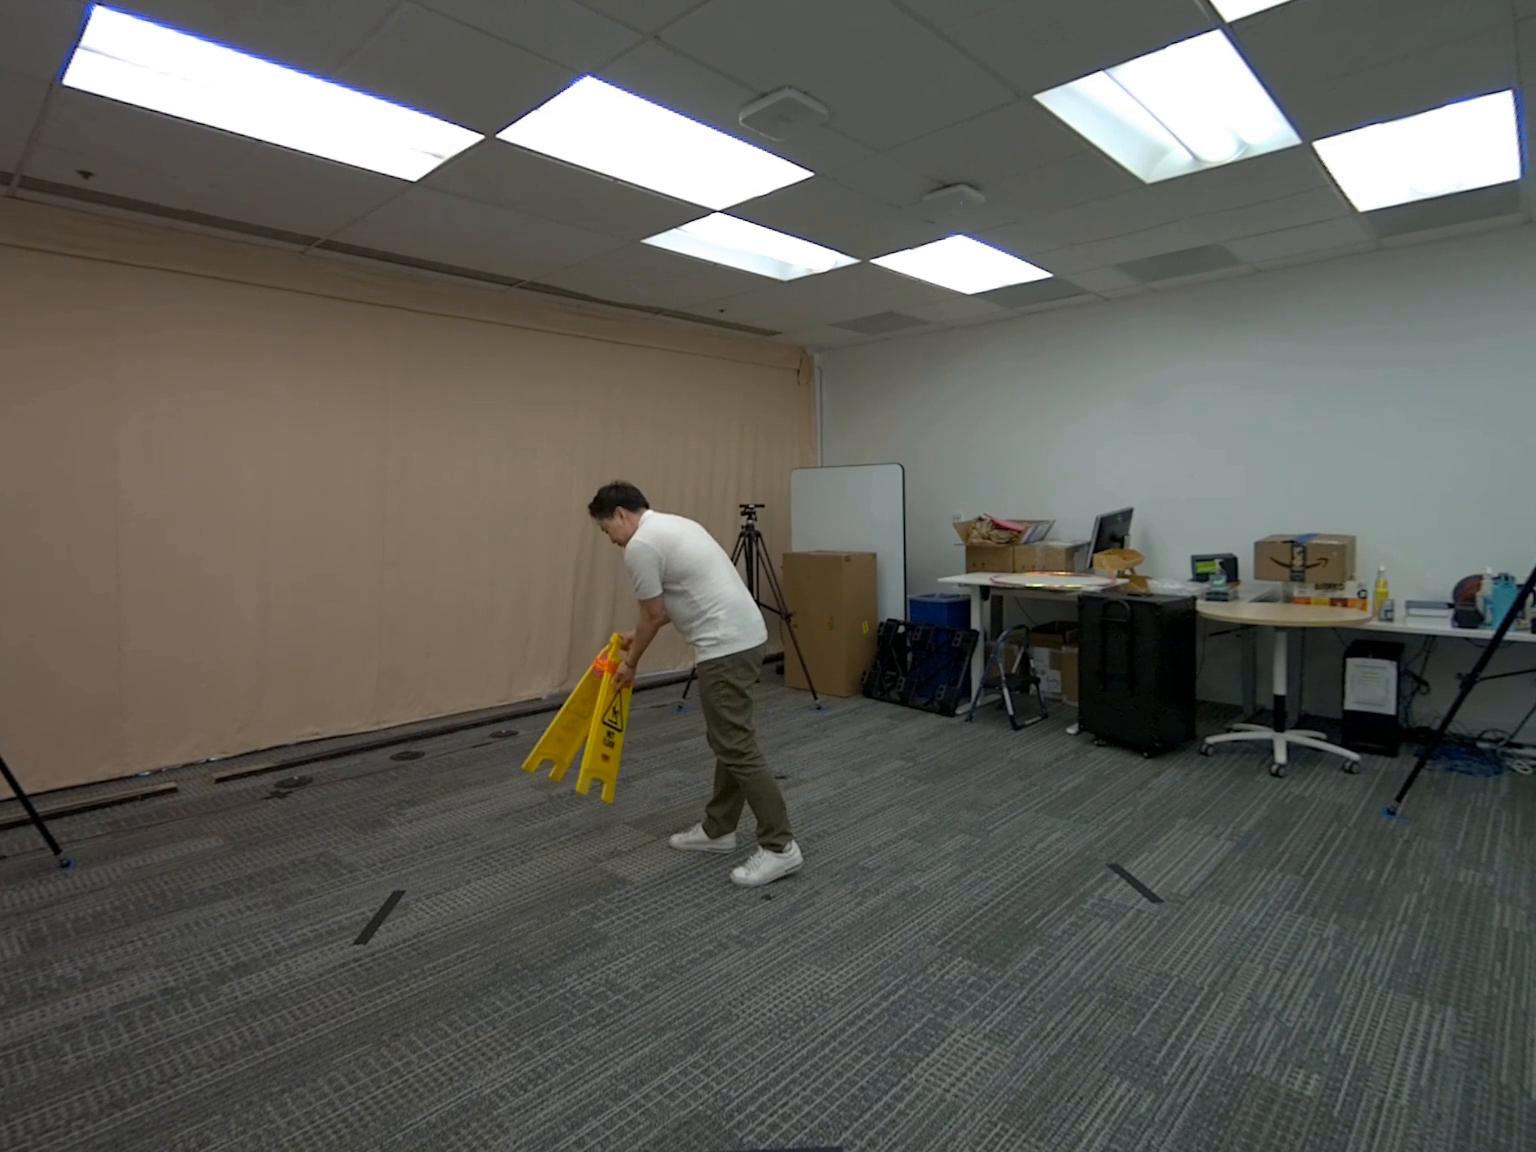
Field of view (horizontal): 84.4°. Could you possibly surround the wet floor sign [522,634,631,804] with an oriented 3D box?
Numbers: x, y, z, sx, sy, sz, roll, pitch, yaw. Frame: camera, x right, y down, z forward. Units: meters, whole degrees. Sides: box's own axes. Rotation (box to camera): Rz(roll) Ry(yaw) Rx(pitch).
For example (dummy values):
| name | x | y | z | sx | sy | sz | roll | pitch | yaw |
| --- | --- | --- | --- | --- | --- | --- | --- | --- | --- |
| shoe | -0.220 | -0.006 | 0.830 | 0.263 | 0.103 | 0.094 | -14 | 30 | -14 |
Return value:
| name | x | y | z | sx | sy | sz | roll | pitch | yaw |
| --- | --- | --- | --- | --- | --- | --- | --- | --- | --- |
| wet floor sign | -0.712 | 0.562 | 3.503 | 0.298 | 0.648 | 0.273 | 12 | -19 | 26 |
